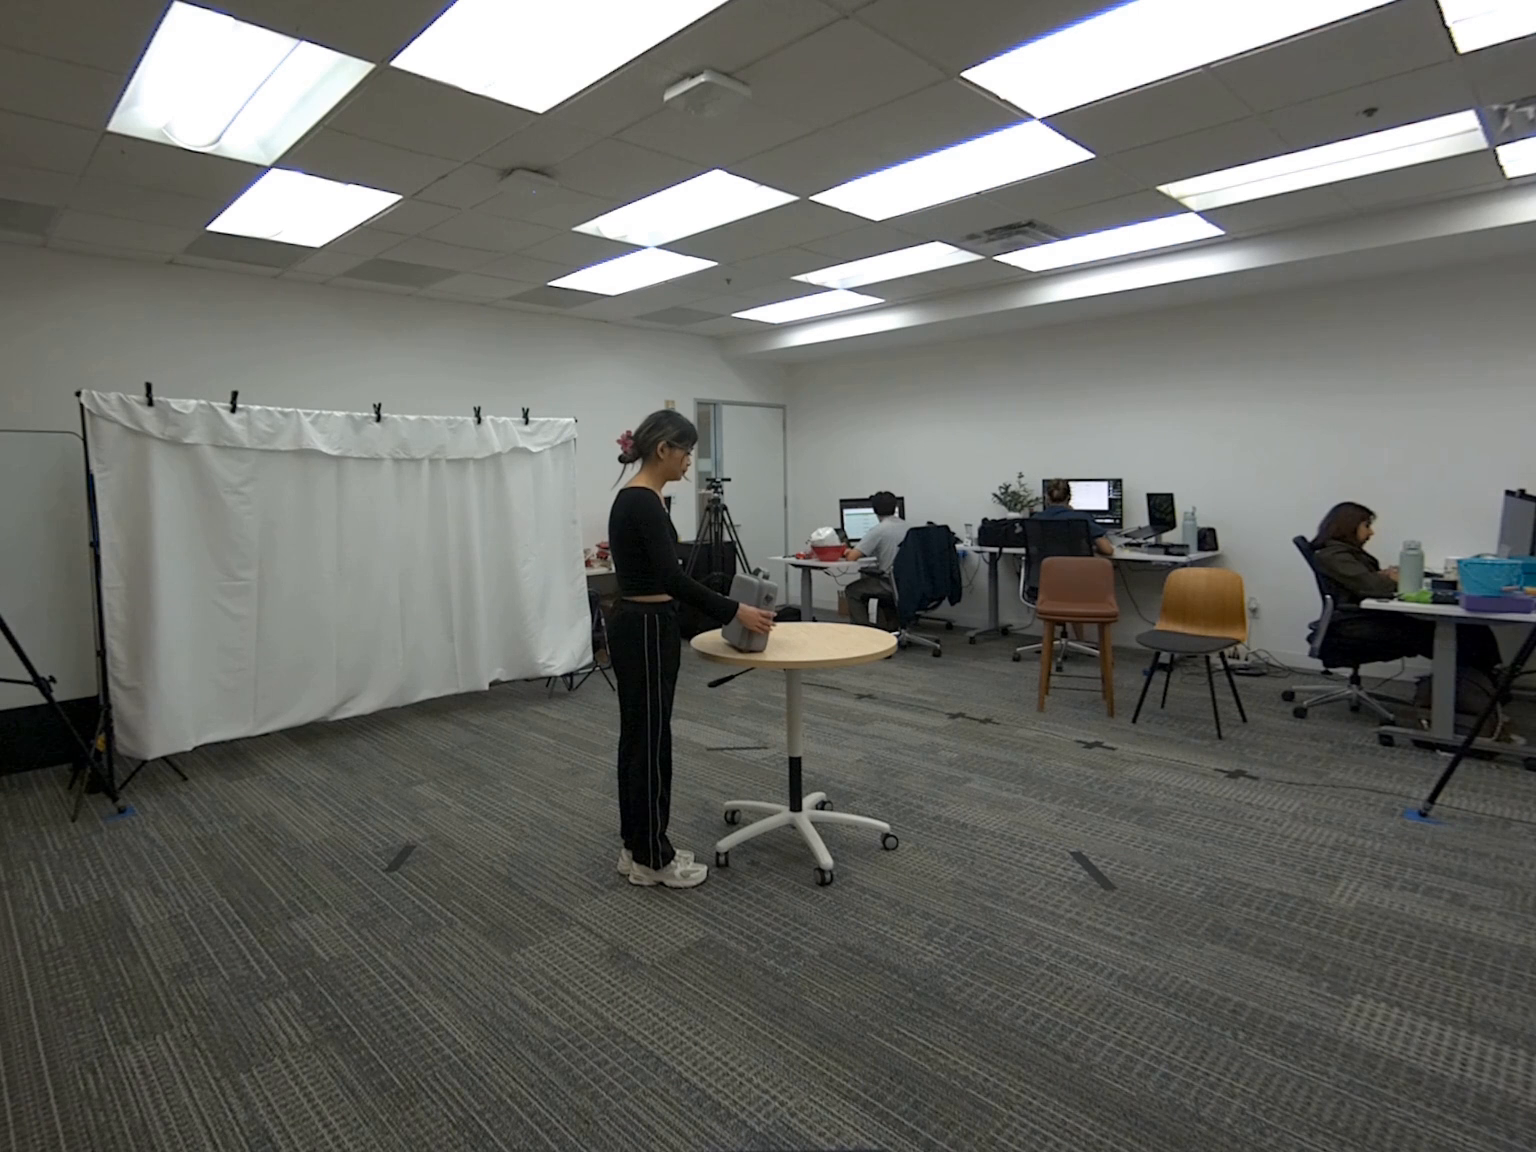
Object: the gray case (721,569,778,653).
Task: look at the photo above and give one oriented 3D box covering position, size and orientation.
[{"bbox_3d":[-0.068,0.125,3.062,0.102,0.260,0.262,12,1,-19],"label":"gray case"}]
